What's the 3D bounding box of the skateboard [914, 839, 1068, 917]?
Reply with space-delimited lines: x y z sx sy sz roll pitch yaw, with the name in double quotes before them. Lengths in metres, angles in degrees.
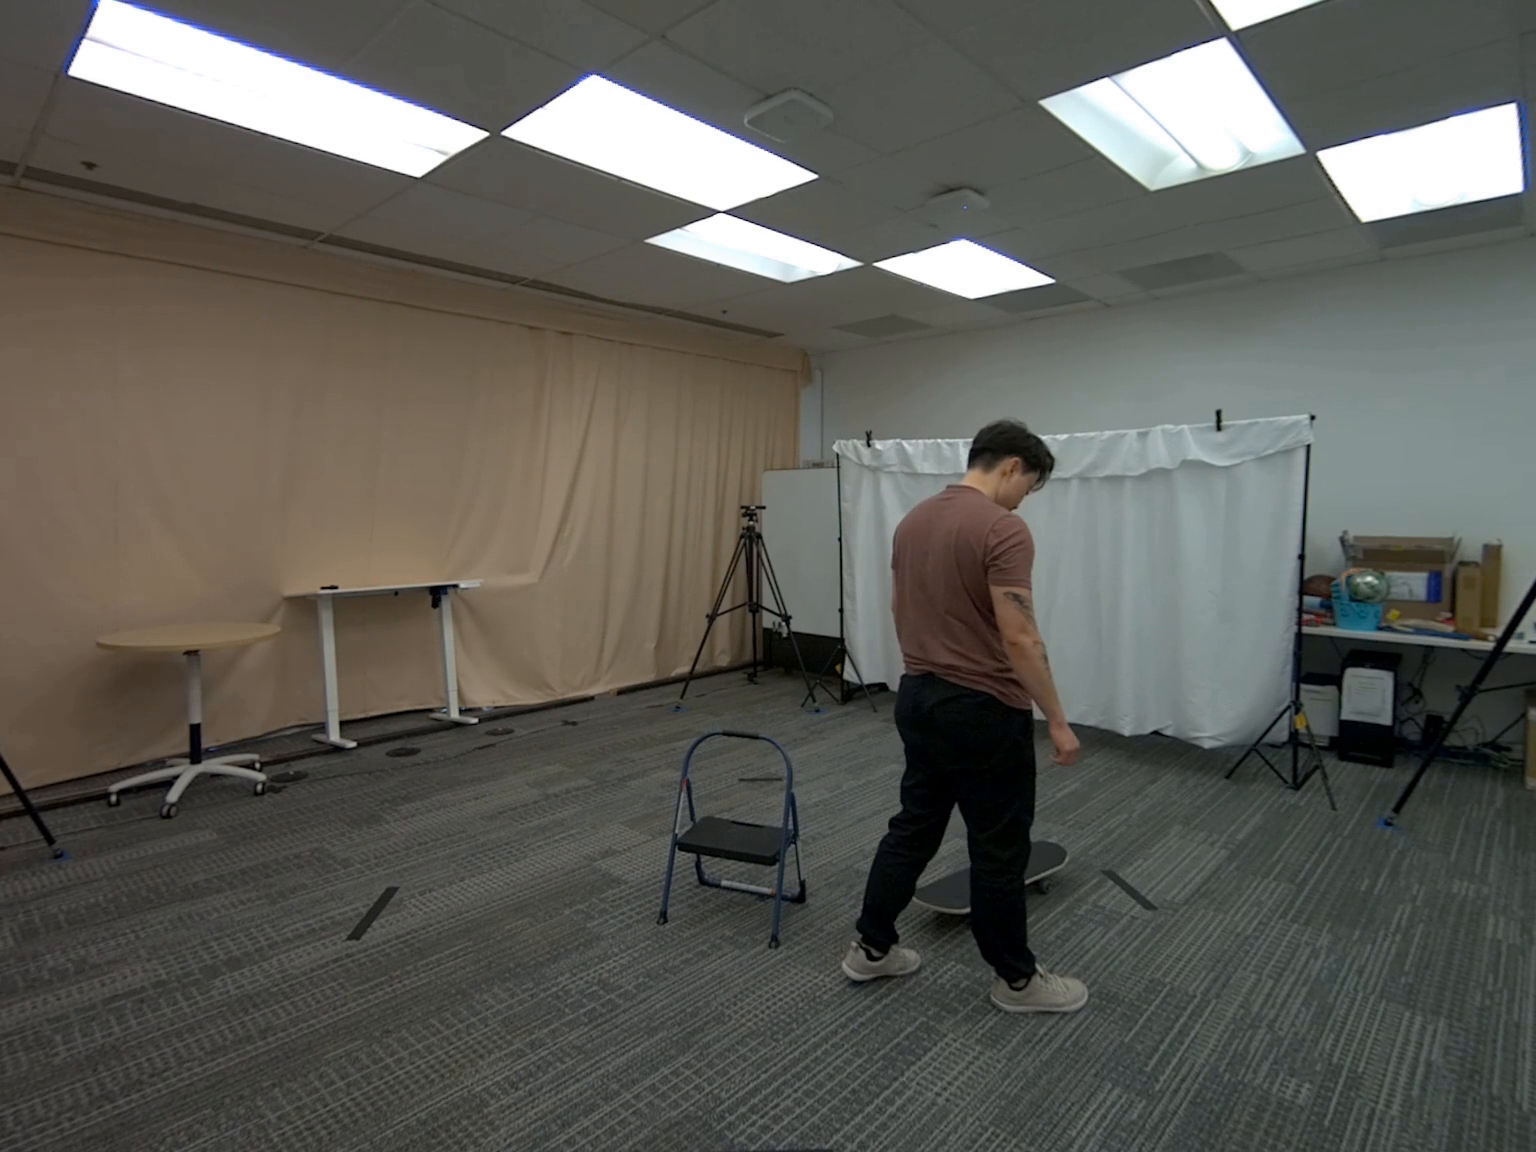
"skateboard" 0.800 1.095 2.950 0.762 0.110 0.200 -3 6 -38
